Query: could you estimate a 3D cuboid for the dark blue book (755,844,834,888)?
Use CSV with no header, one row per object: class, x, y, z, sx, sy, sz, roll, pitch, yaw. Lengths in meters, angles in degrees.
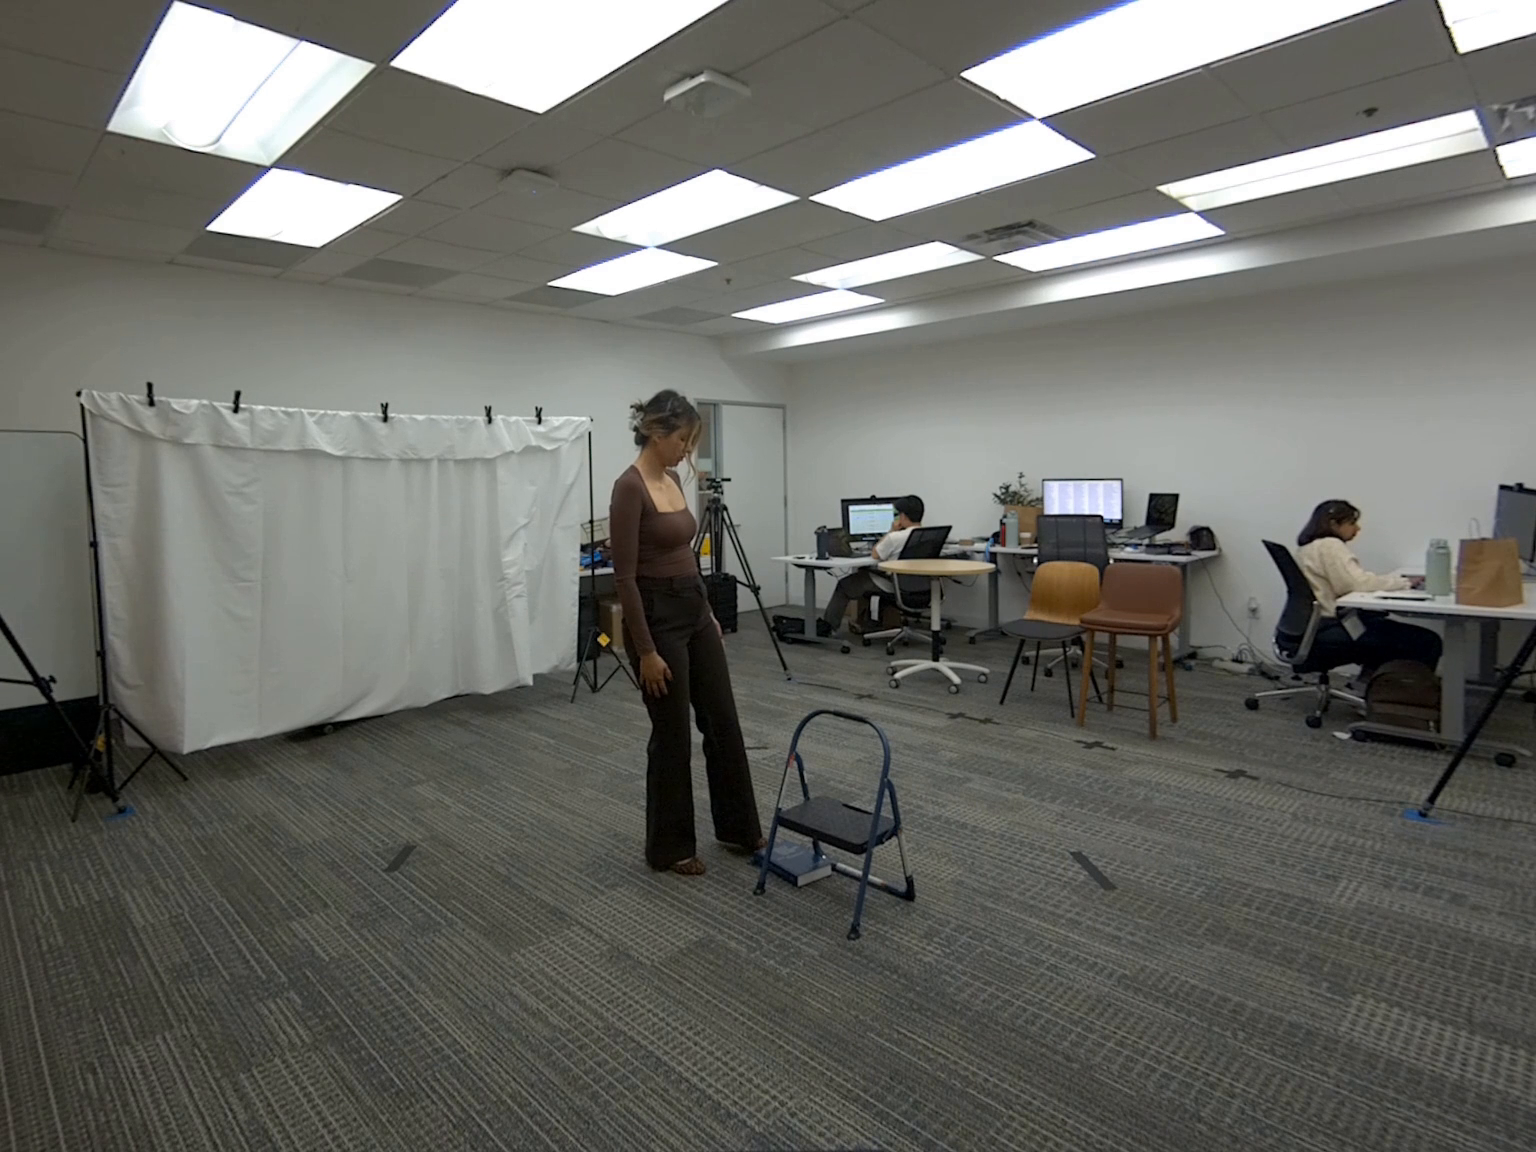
dark blue book,0.089,1.017,3.044,0.159,0.045,0.252,-5,7,-38
